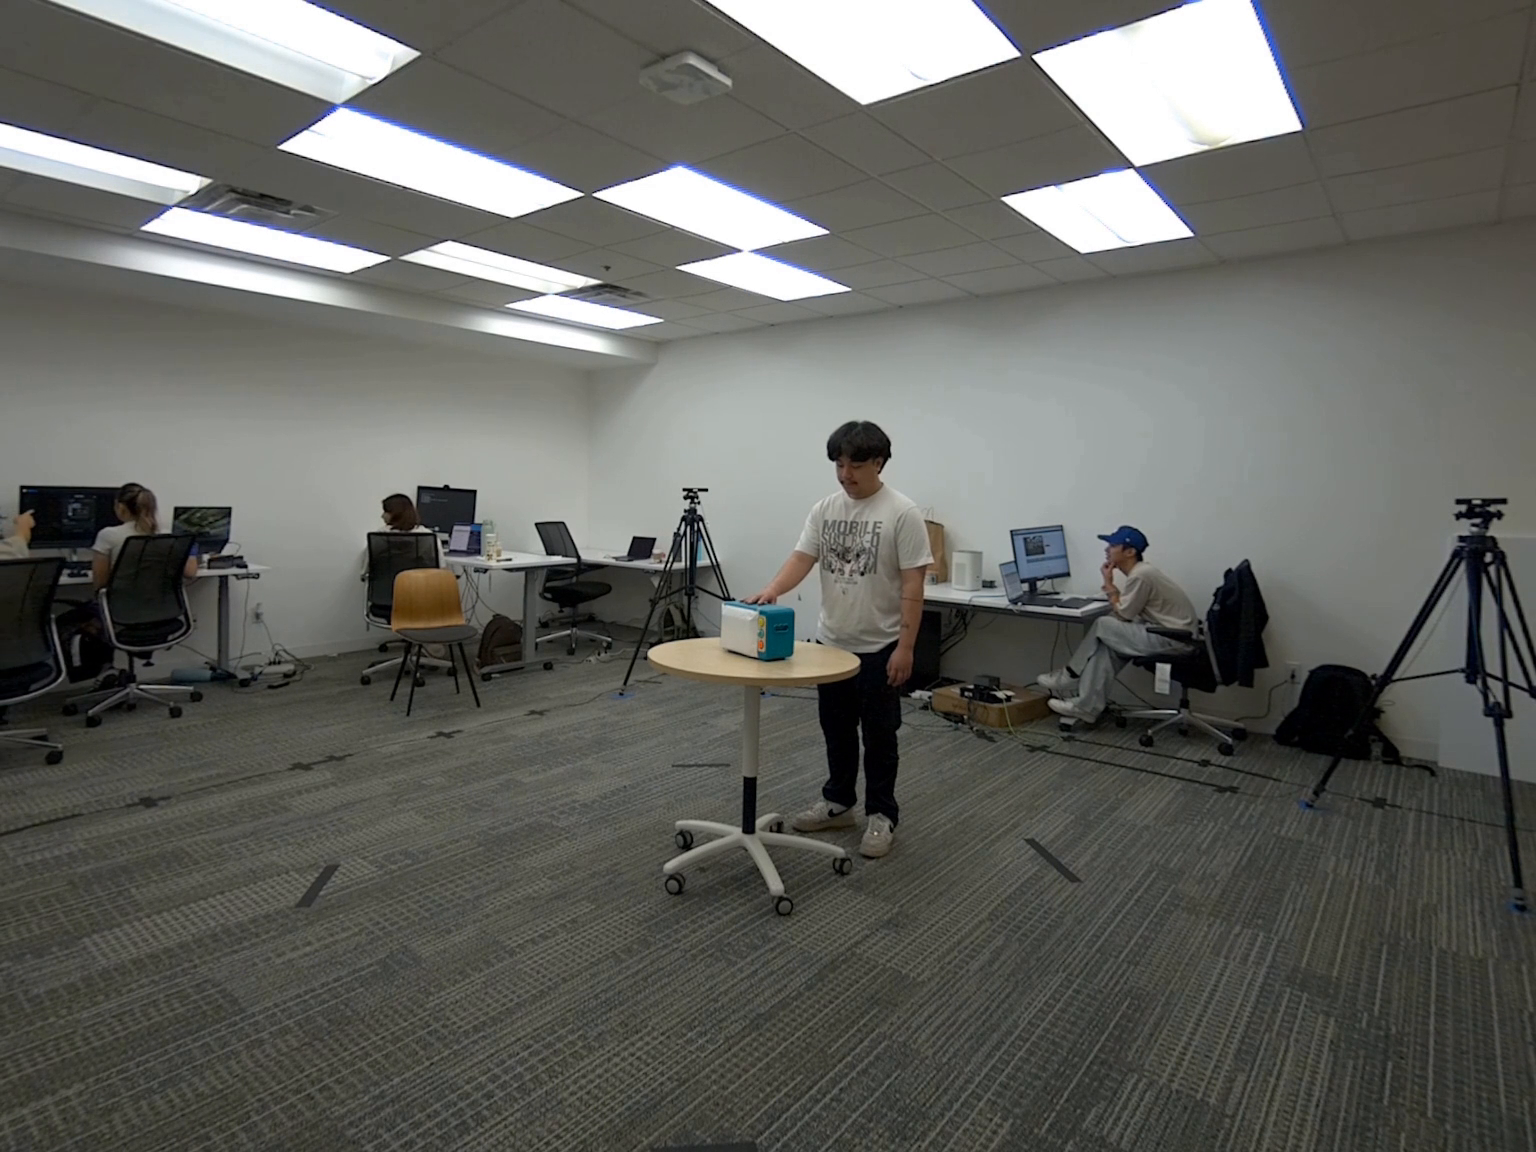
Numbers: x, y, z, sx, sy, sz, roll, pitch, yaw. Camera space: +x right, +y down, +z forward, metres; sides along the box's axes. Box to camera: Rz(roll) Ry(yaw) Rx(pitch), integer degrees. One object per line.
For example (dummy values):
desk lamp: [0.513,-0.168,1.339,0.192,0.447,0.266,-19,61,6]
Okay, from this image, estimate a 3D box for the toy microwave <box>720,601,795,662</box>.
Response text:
toy microwave: [-0.053,0.190,3.082,0.148,0.183,0.296,-1,5,-37]
